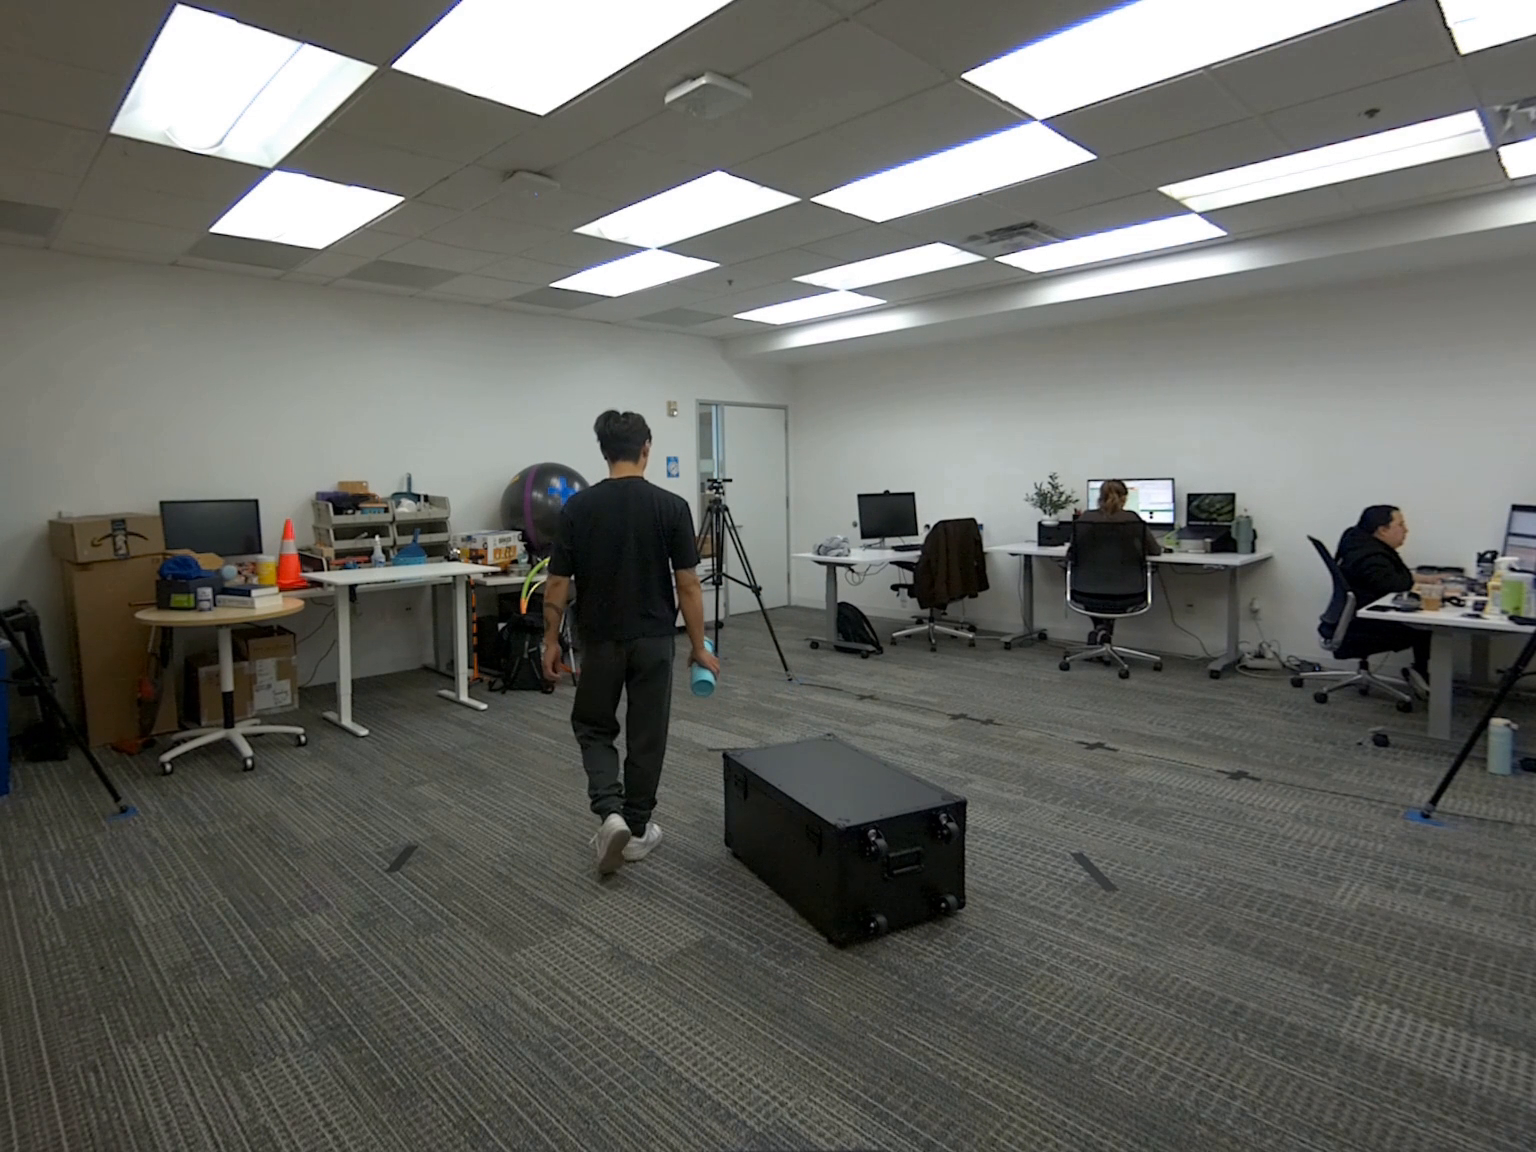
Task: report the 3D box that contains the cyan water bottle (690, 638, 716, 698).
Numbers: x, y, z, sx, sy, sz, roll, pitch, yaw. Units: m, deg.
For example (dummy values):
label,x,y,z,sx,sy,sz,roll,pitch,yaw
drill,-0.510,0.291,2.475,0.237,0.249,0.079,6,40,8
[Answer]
label,x,y,z,sx,sy,sz,roll,pitch,yaw
cyan water bottle,-0.254,0.335,3.259,0.093,0.090,0.289,-1,32,3
